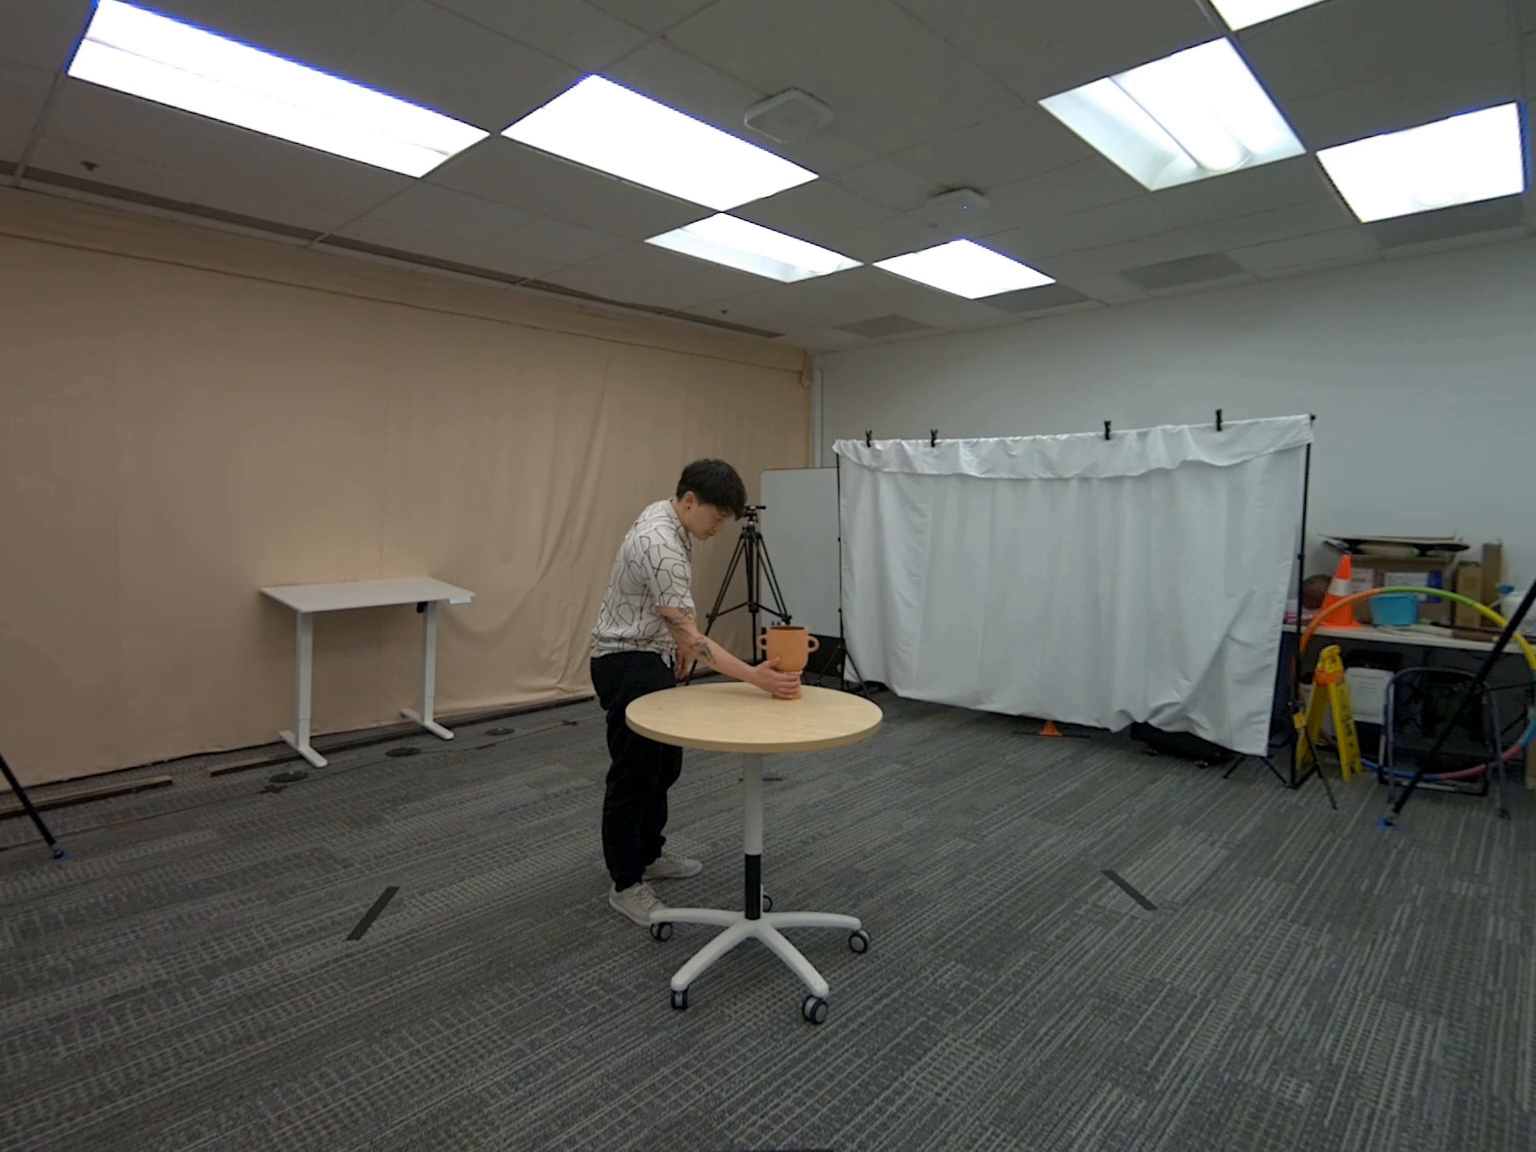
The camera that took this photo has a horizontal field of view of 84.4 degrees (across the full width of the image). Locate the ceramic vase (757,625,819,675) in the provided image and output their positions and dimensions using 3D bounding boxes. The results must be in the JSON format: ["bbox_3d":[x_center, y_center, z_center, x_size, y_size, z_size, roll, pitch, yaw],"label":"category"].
[{"bbox_3d":[0.067,0.278,2.686,0.130,0.219,0.164,-2,4,-42],"label":"ceramic vase"}]
